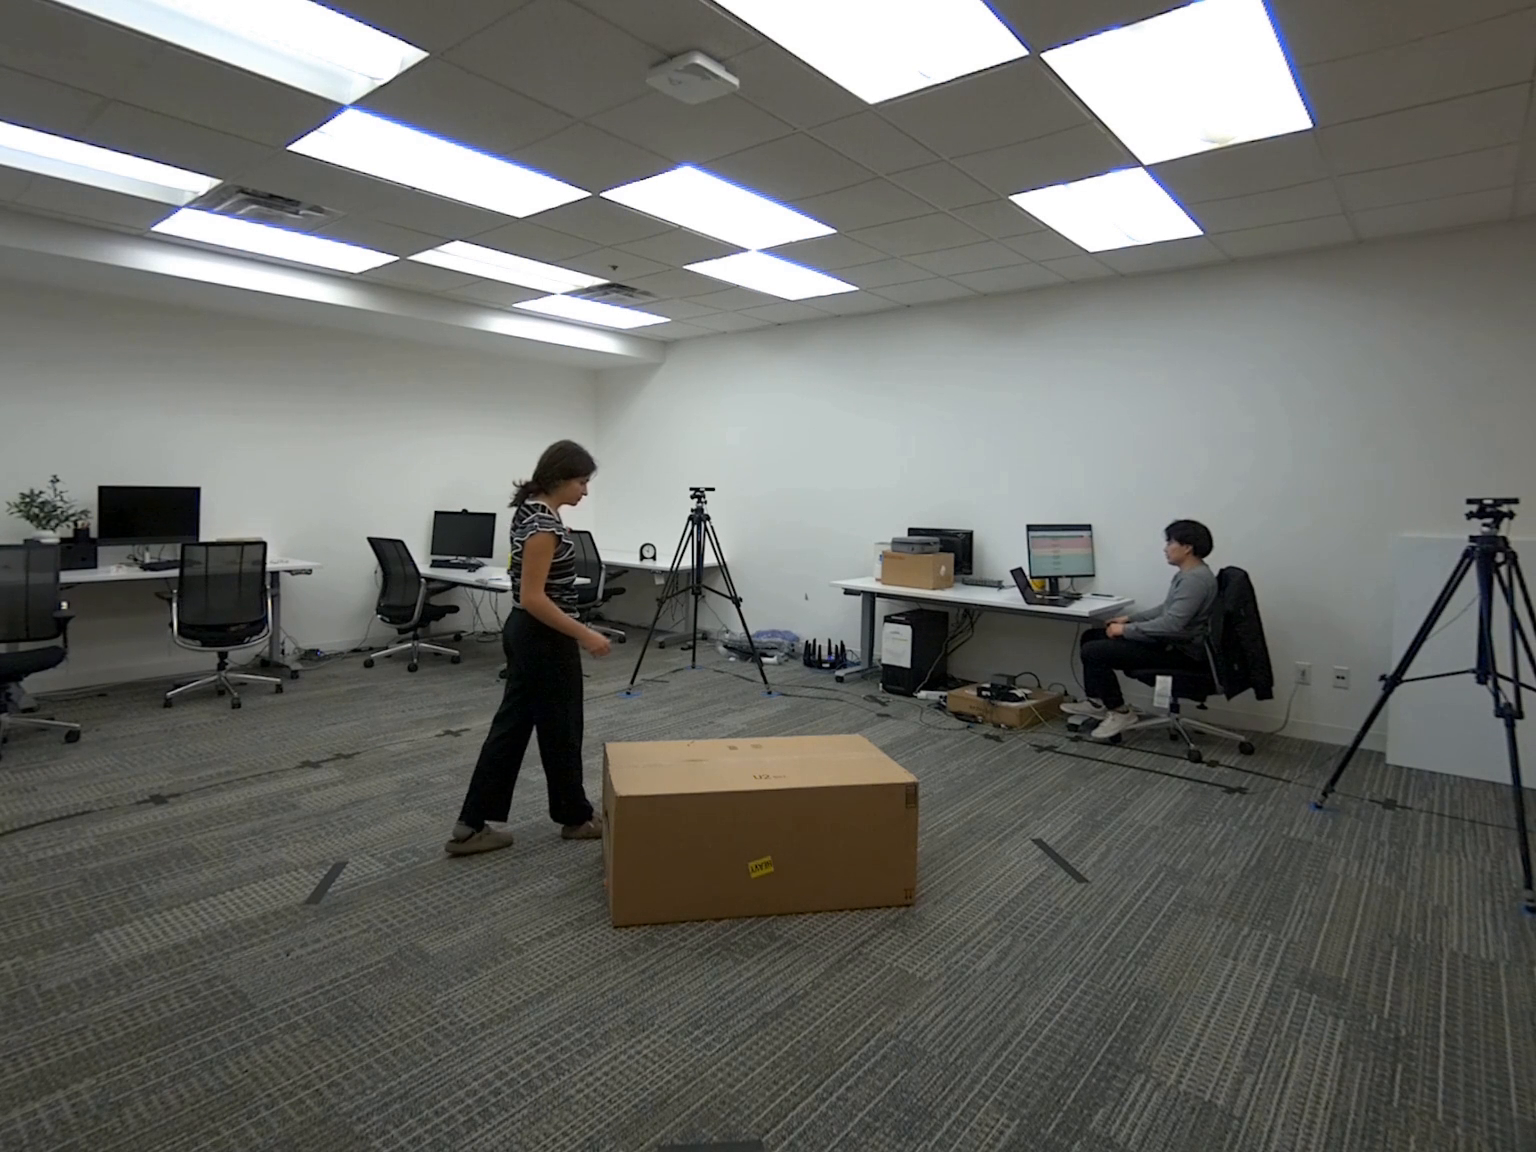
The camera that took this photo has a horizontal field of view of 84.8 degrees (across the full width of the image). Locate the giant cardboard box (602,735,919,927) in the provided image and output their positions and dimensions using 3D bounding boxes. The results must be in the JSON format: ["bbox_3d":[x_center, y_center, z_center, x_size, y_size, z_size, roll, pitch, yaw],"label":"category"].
[{"bbox_3d":[-0.068,0.864,3.035,1.013,0.425,0.587,0,4,-12],"label":"giant cardboard box"}]
